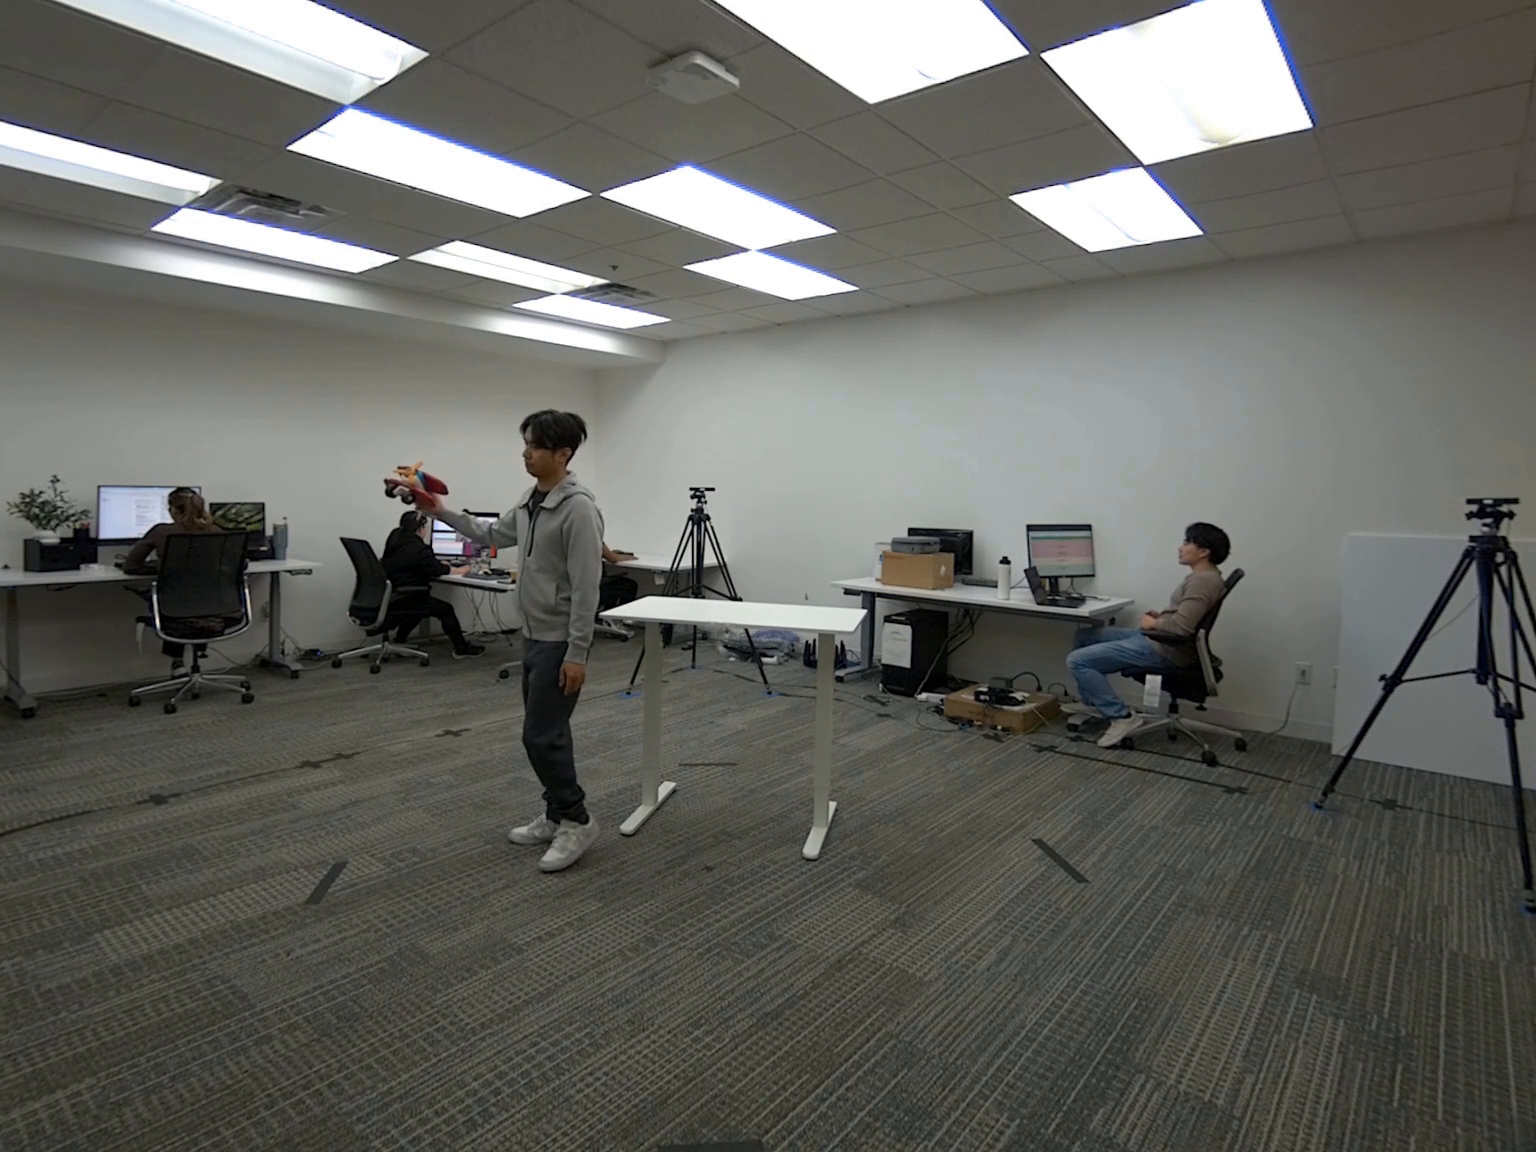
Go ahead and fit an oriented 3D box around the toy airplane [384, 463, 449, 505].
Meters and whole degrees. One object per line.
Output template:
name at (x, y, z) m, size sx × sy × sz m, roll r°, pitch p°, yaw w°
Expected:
toy airplane at (-1.441, -0.331, 3.424) m, size 0.249 × 0.157 × 0.259 m, roll 31°, pitch -20°, yaw -6°
